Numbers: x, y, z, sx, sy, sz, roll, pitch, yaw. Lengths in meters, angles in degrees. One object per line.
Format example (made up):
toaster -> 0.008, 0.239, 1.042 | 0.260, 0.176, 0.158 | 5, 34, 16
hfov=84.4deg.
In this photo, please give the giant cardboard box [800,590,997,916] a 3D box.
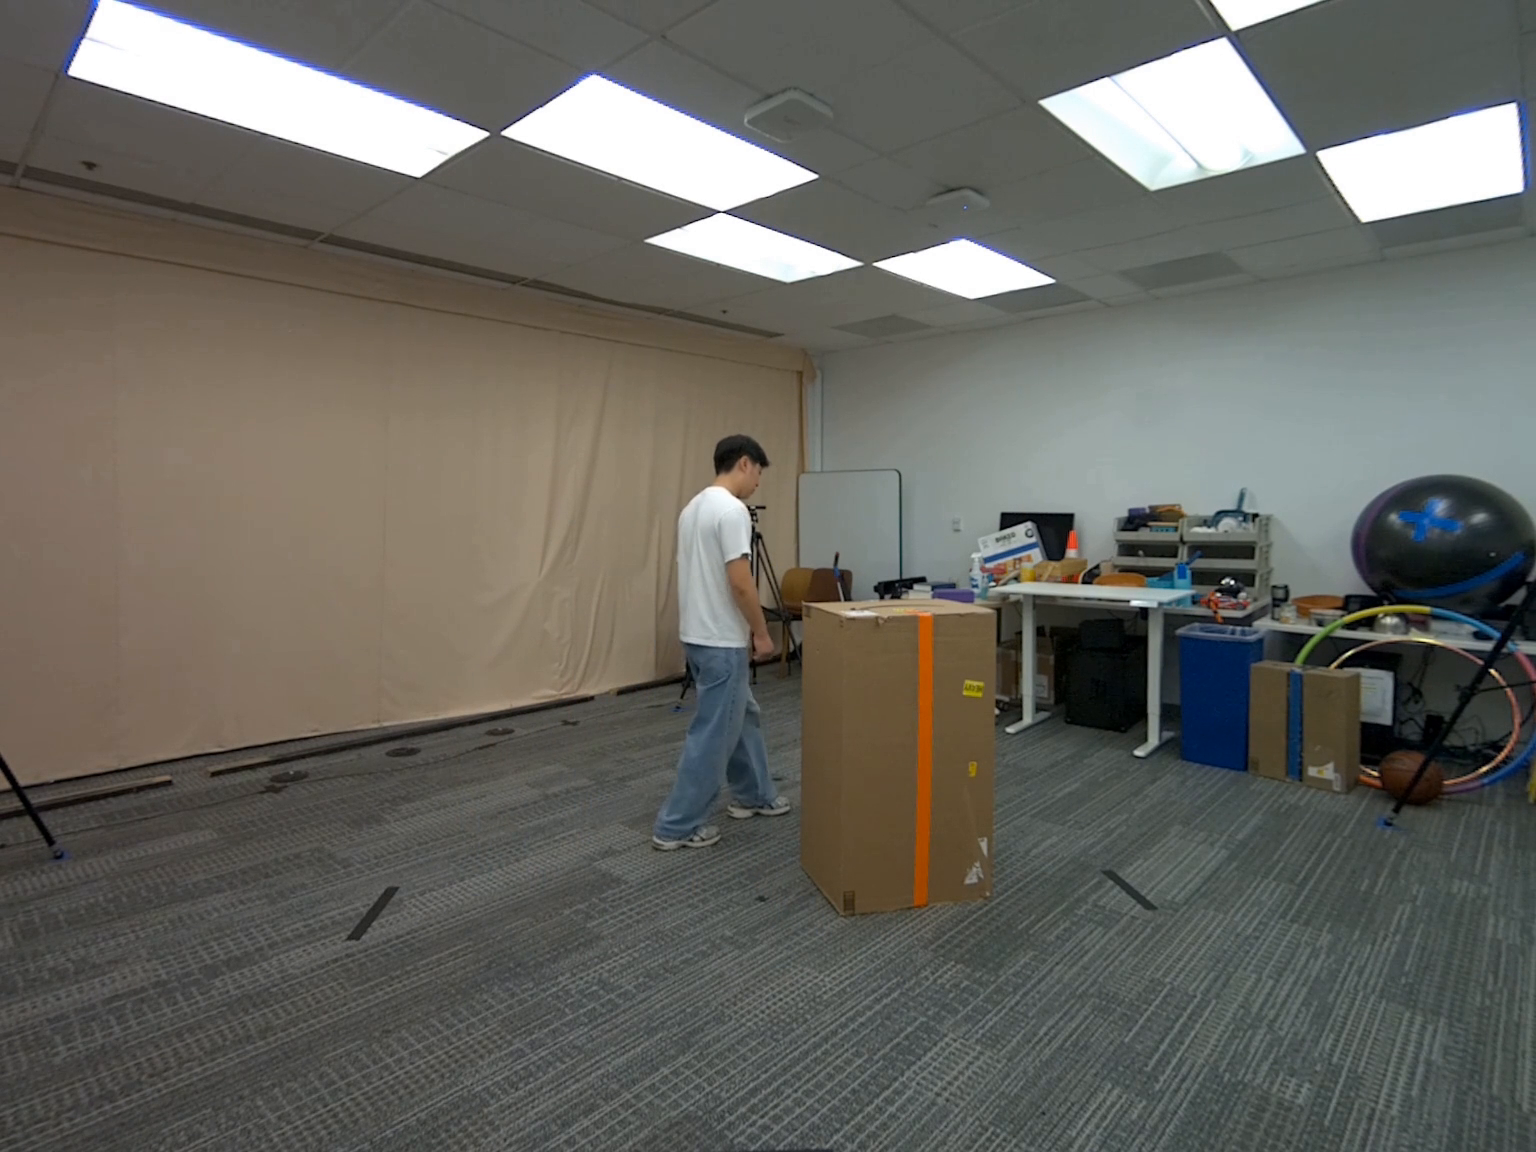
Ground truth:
giant cardboard box -> 0.466, 0.623, 3.094 | 0.567, 1.024, 0.434 | -1, 3, -17
